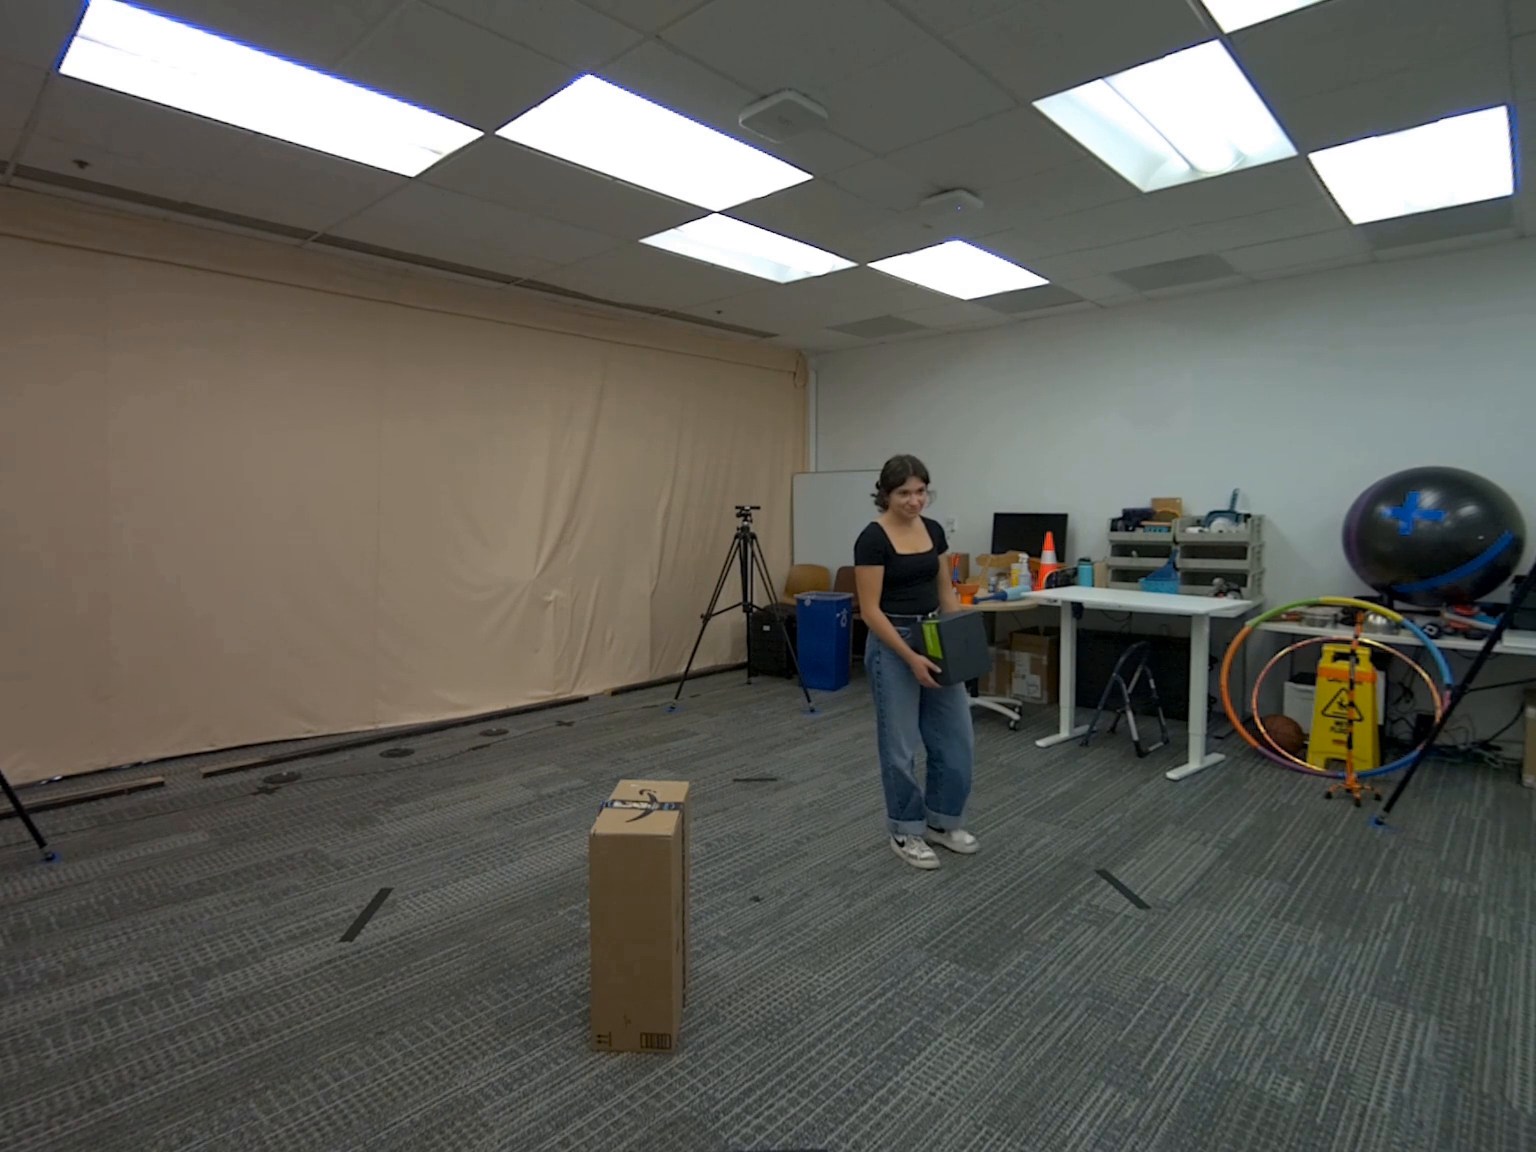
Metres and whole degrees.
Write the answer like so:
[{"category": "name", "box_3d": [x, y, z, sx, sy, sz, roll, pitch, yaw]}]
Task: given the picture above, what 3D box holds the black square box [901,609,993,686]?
[{"category": "black square box", "box_3d": [0.671, 0.256, 3.081, 0.212, 0.227, 0.160, -12, 3, -28]}]
